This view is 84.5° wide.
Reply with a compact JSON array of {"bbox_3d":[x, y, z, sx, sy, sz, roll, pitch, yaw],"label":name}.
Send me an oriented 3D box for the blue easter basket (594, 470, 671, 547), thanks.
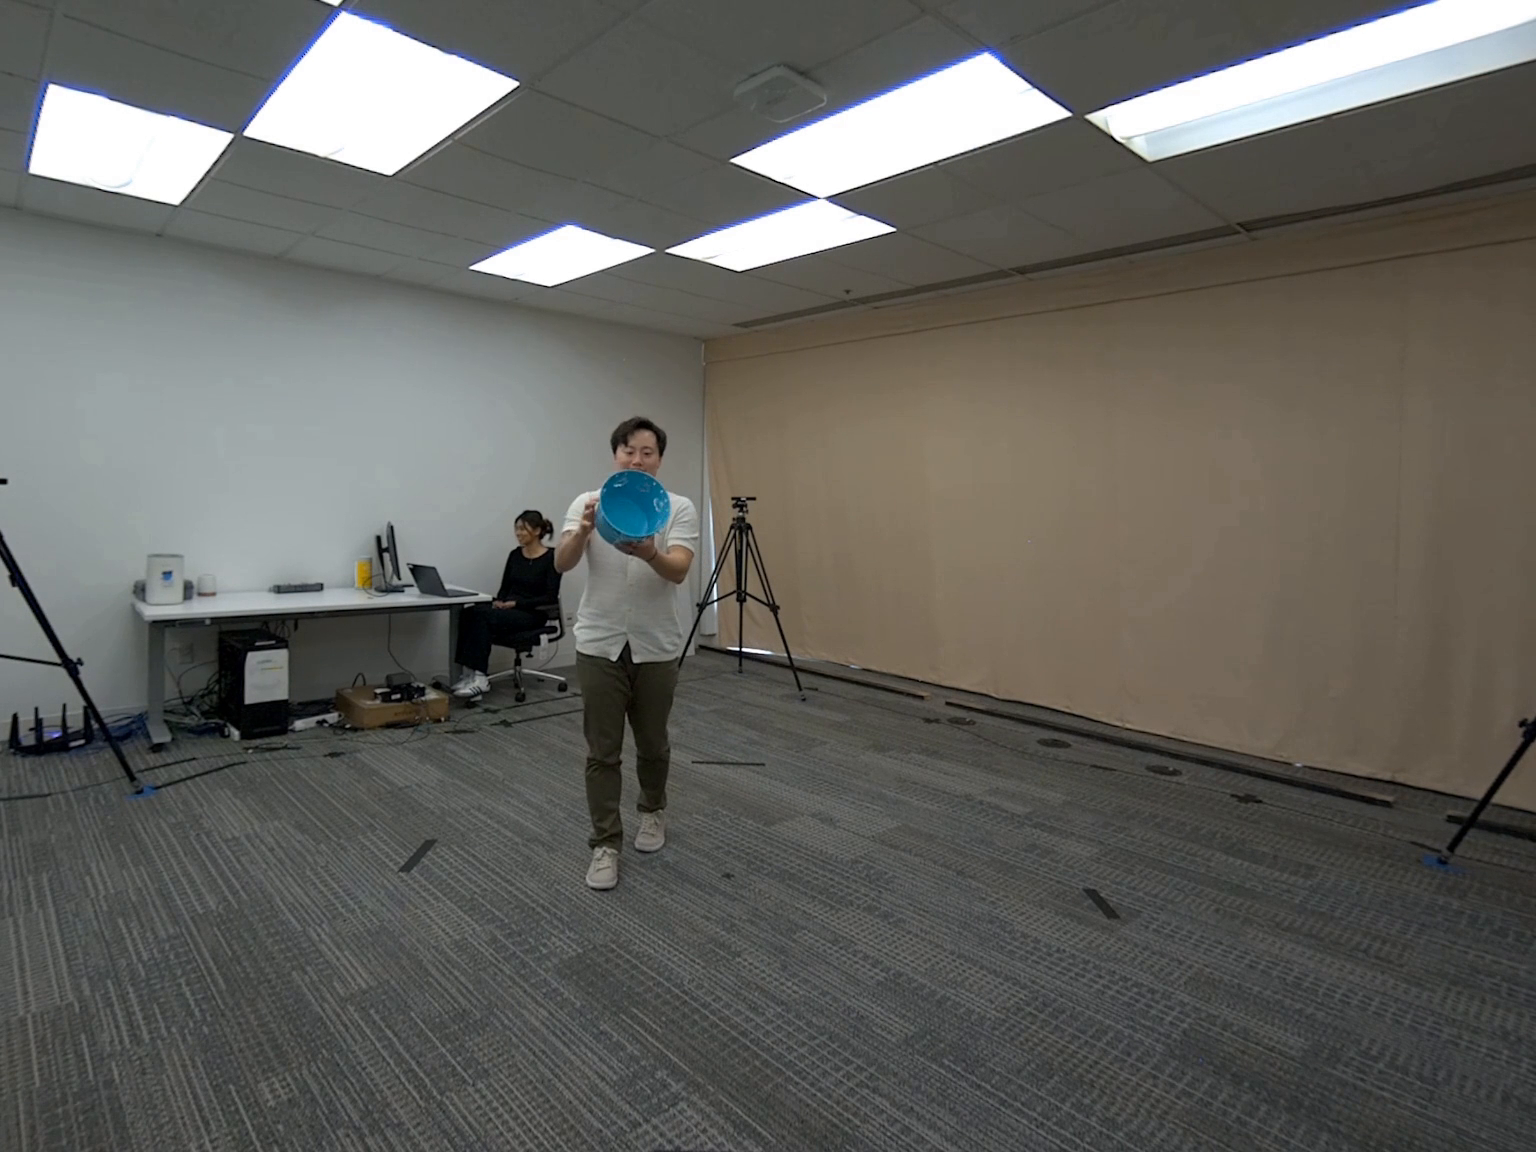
[{"bbox_3d":[-0.453,-0.201,2.689,0.239,0.247,0.156,-1,-20,-26],"label":"blue easter basket"}]
